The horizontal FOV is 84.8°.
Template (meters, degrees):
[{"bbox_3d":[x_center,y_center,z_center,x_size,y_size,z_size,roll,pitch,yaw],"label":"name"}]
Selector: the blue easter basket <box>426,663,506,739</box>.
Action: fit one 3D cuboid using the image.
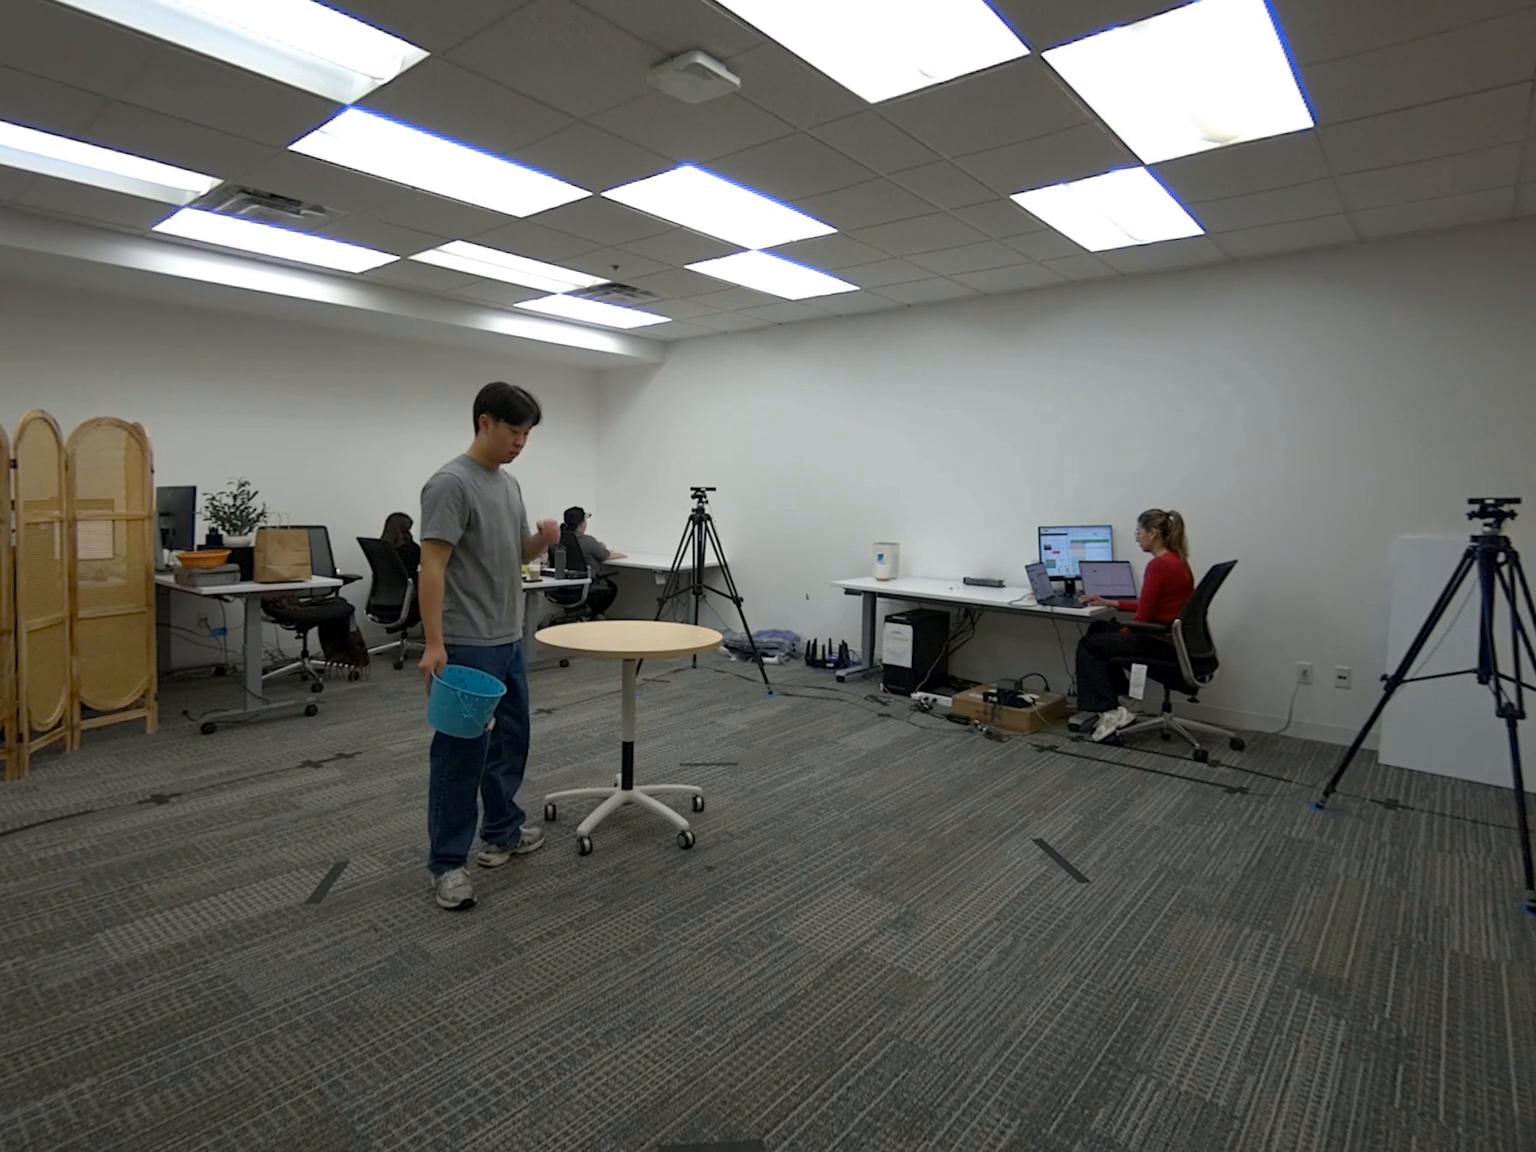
[{"bbox_3d":[-0.952,0.390,2.659,0.243,0.155,0.245,18,6,-4],"label":"blue easter basket"}]
